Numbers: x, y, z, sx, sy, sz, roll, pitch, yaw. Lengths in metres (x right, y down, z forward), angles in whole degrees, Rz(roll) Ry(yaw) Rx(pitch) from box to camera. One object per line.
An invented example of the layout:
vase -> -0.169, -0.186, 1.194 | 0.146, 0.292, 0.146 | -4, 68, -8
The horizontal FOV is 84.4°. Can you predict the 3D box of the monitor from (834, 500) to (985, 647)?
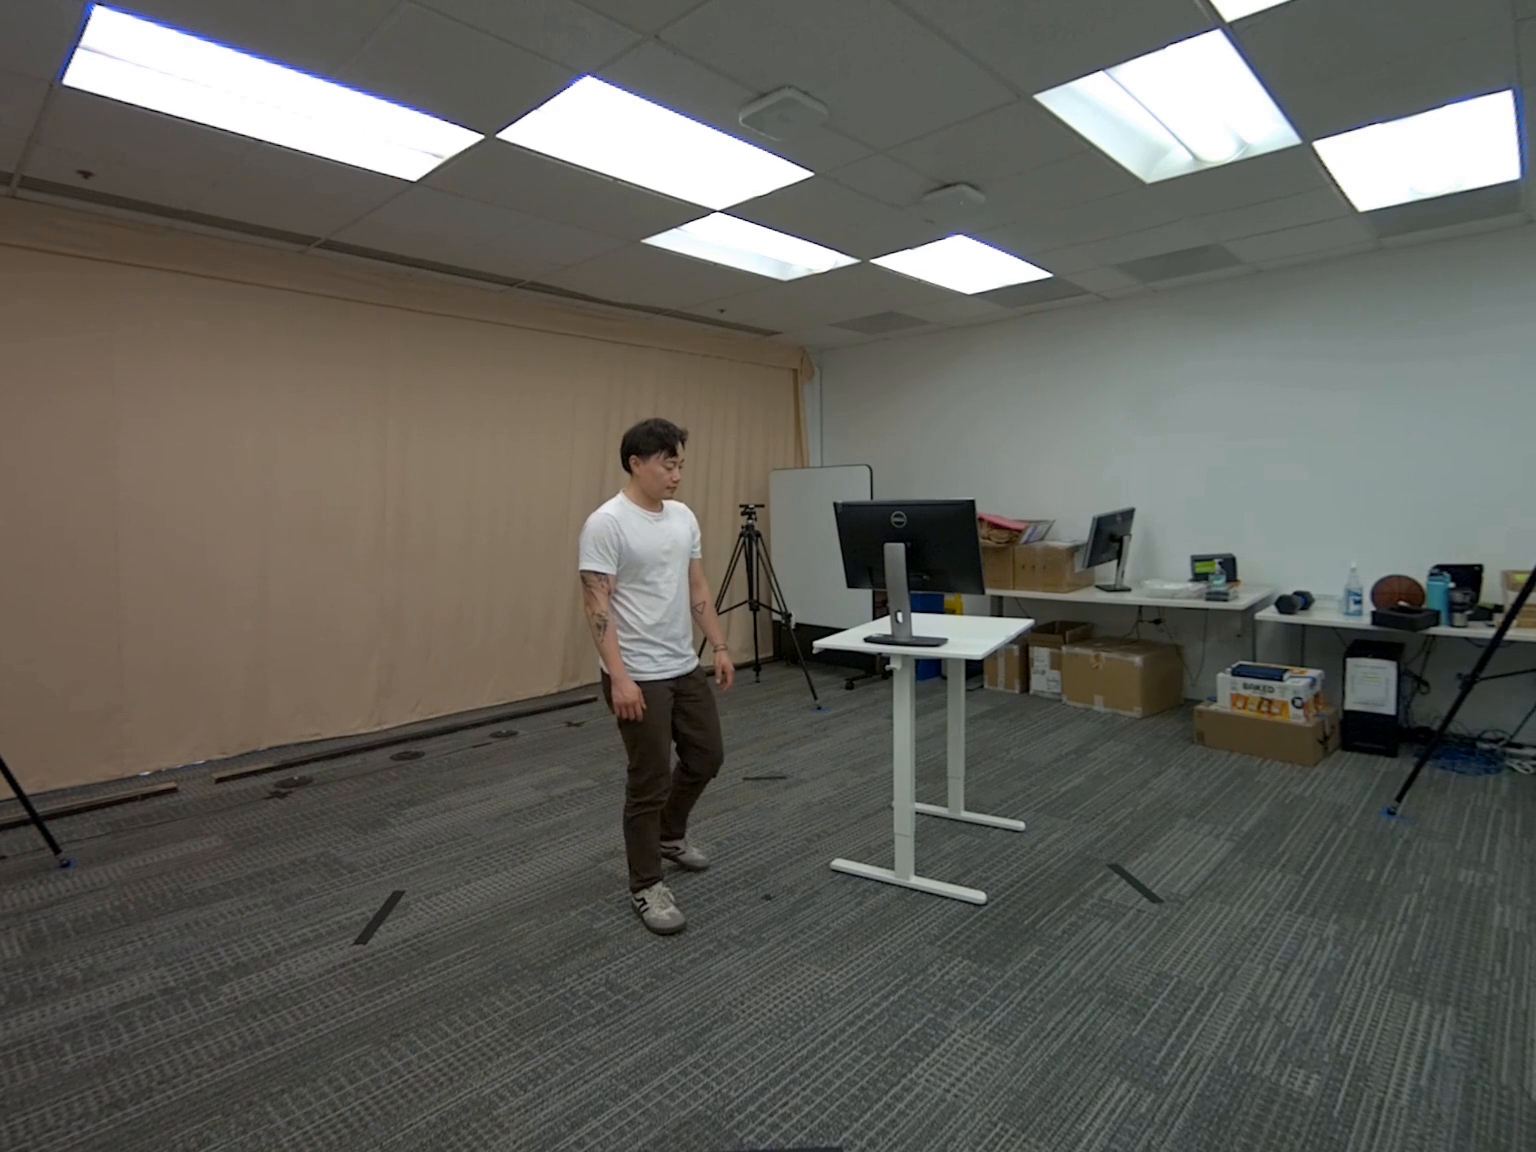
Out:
monitor -> 0.494, -0.012, 3.023 | 0.555, 0.521, 0.182 | 1, 6, 31
